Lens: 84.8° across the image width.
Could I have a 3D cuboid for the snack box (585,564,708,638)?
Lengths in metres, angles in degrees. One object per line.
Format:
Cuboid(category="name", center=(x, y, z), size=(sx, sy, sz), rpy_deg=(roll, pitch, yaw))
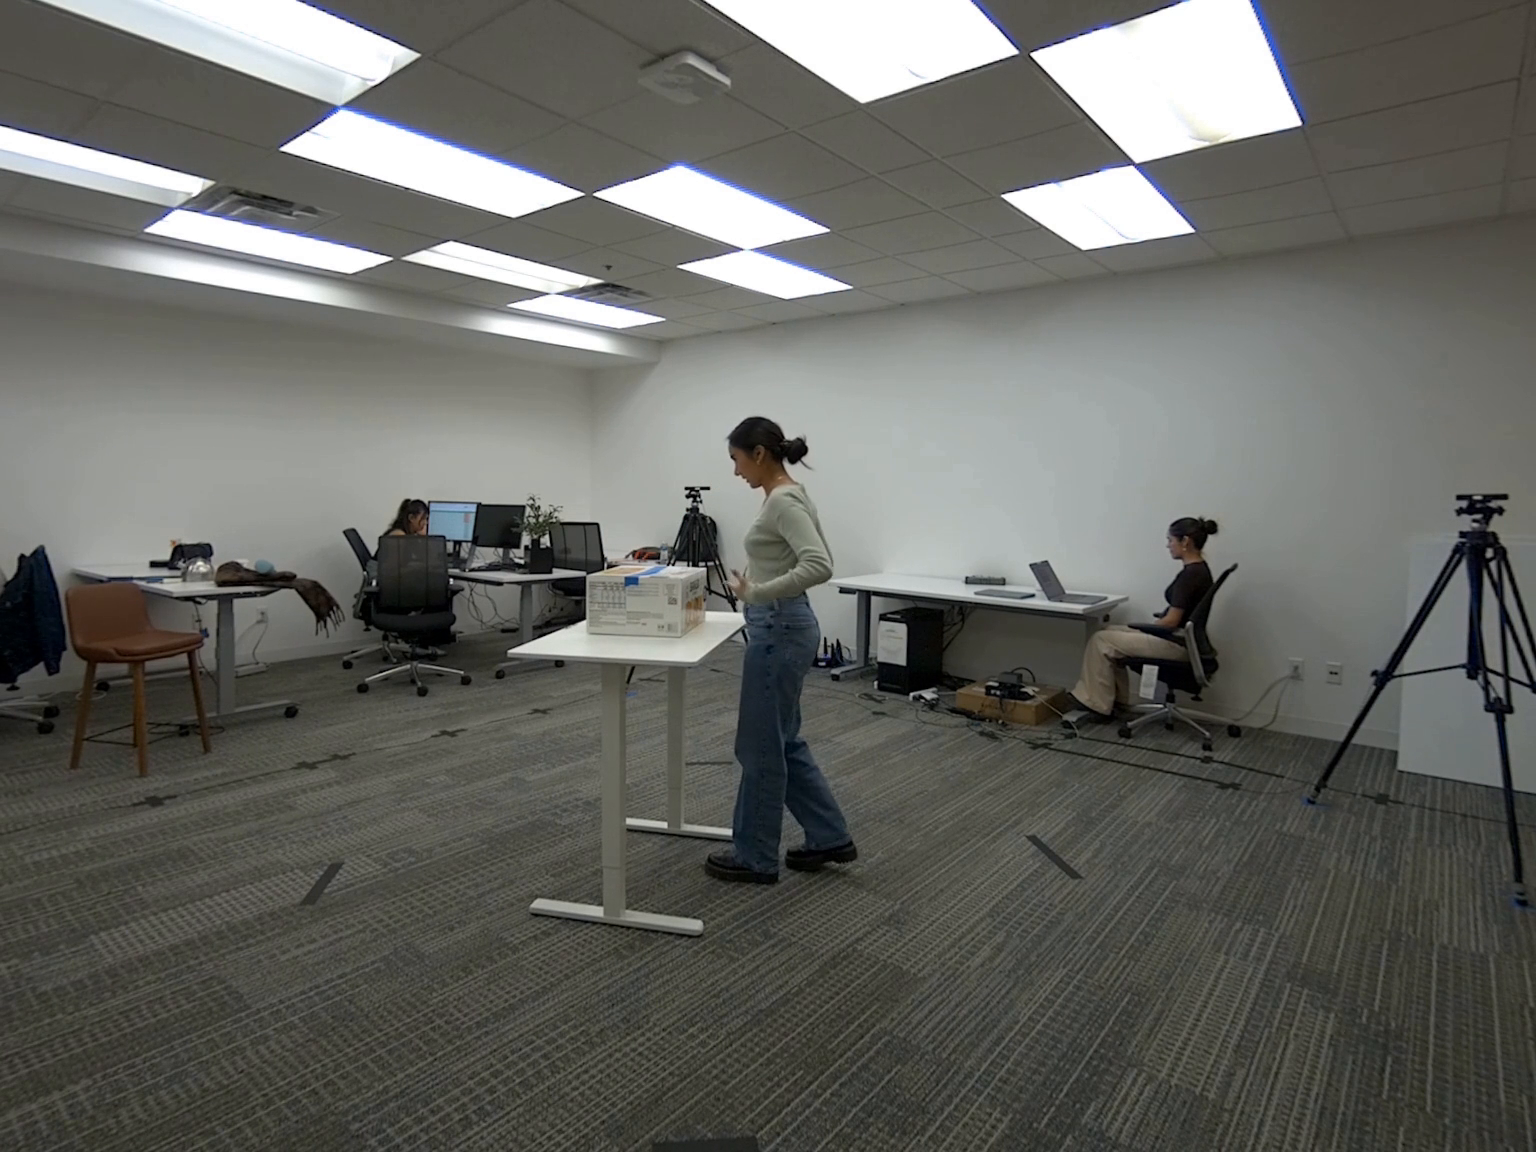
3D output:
Cuboid(category="snack box", center=(-0.440, 0.081, 3.085), size=(0.344, 0.205, 0.402), rpy_deg=(1, 6, 10))
